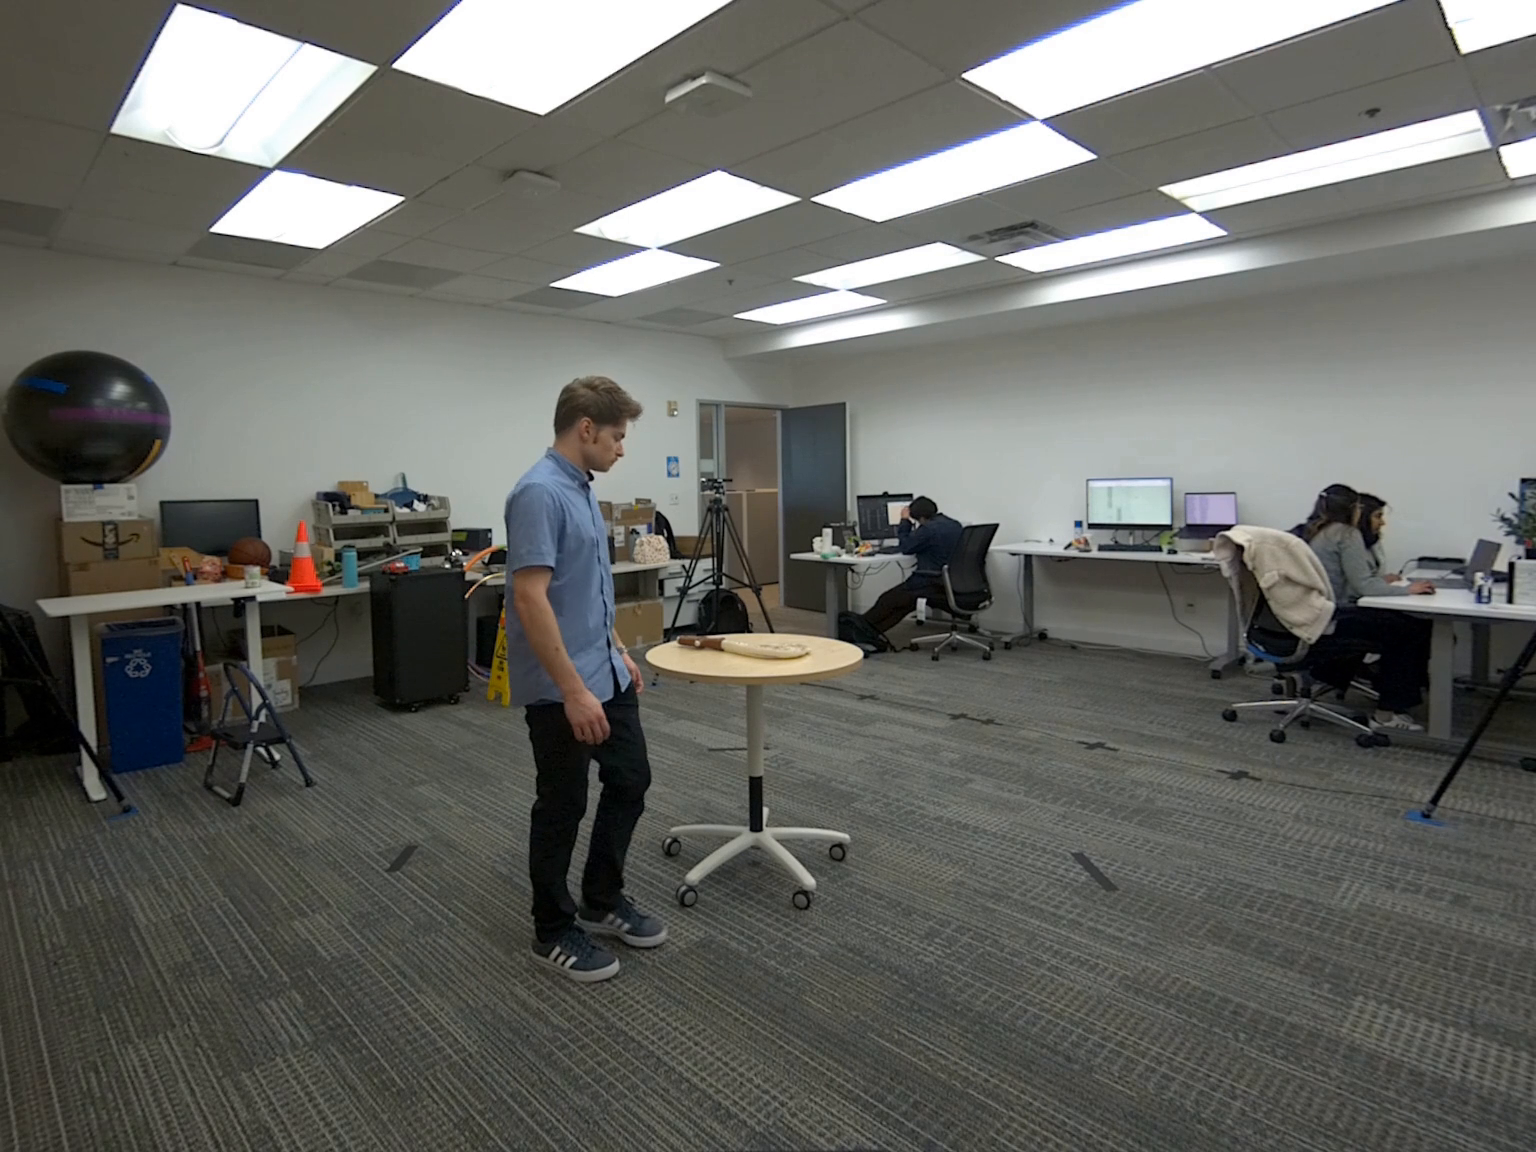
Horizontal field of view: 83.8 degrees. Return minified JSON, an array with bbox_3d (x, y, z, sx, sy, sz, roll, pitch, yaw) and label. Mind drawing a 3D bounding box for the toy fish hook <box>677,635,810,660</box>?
[{"bbox_3d":[-0.087,0.254,3.067,0.521,0.048,0.218,4,0,32],"label":"toy fish hook"}]
